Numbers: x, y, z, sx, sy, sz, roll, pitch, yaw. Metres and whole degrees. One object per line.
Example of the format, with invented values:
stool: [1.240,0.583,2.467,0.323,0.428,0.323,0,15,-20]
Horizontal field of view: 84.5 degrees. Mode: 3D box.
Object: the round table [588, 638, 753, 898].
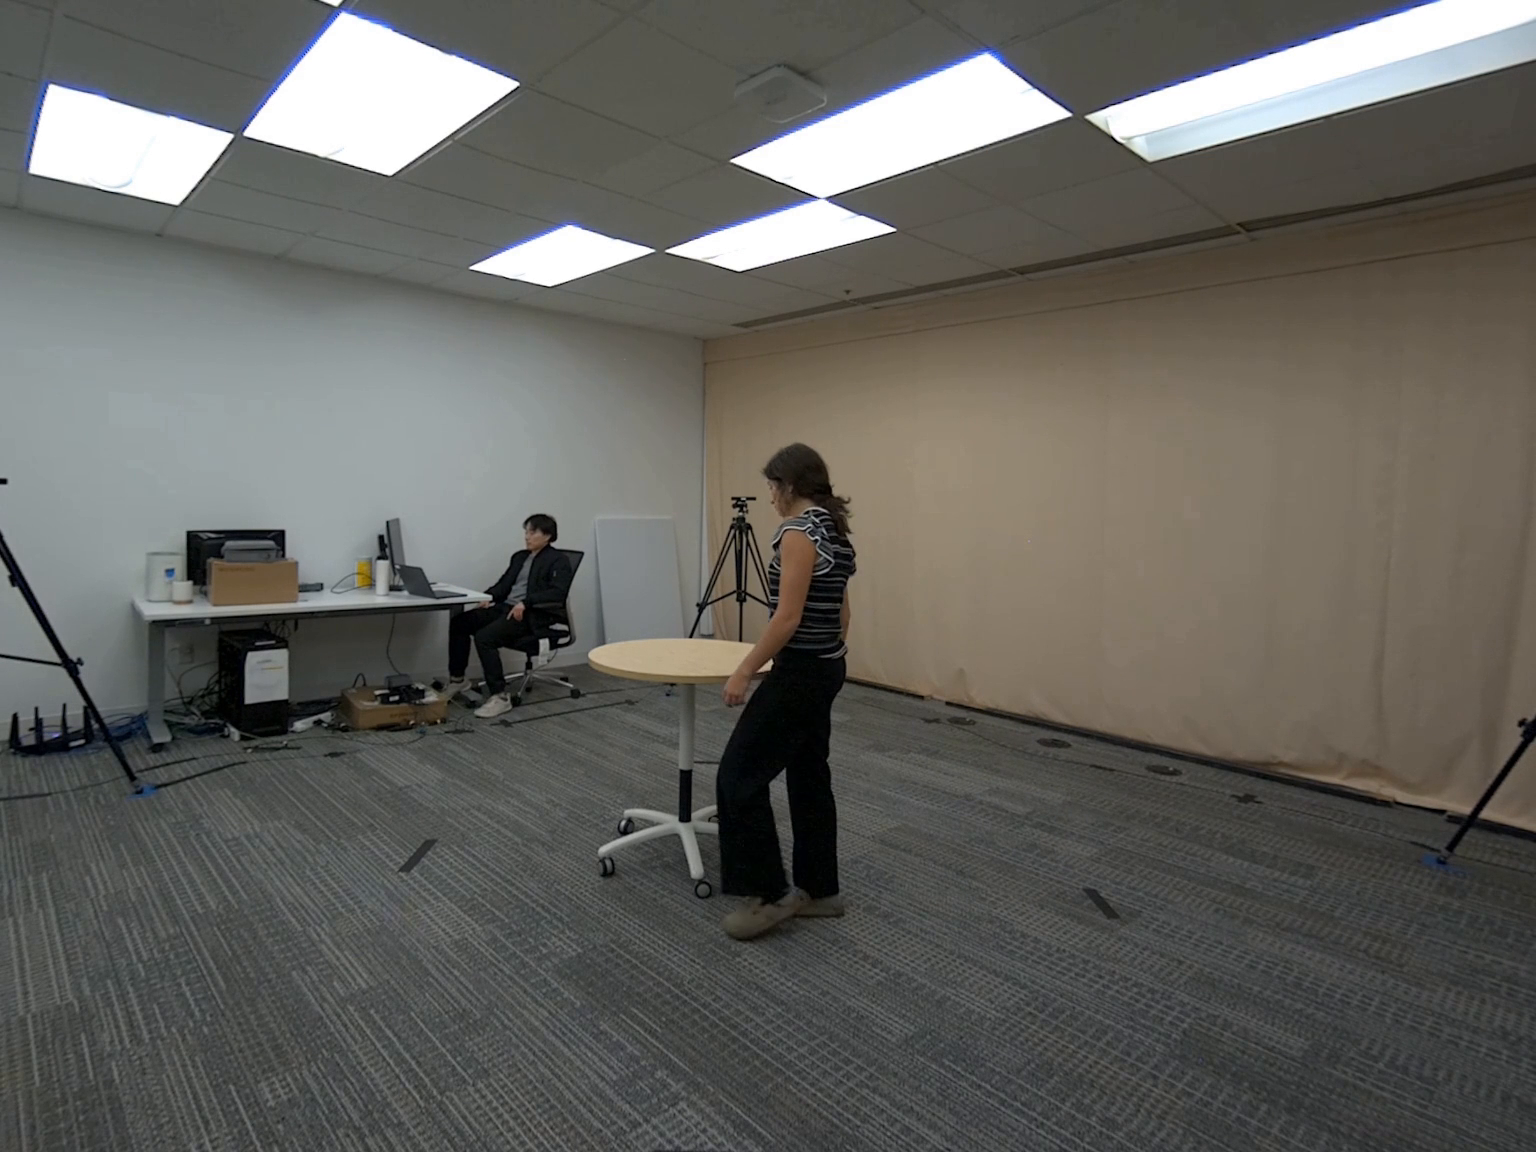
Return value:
round table: [-0.322,0.697,3.237,0.784,0.785,0.787,1,3,-1]
